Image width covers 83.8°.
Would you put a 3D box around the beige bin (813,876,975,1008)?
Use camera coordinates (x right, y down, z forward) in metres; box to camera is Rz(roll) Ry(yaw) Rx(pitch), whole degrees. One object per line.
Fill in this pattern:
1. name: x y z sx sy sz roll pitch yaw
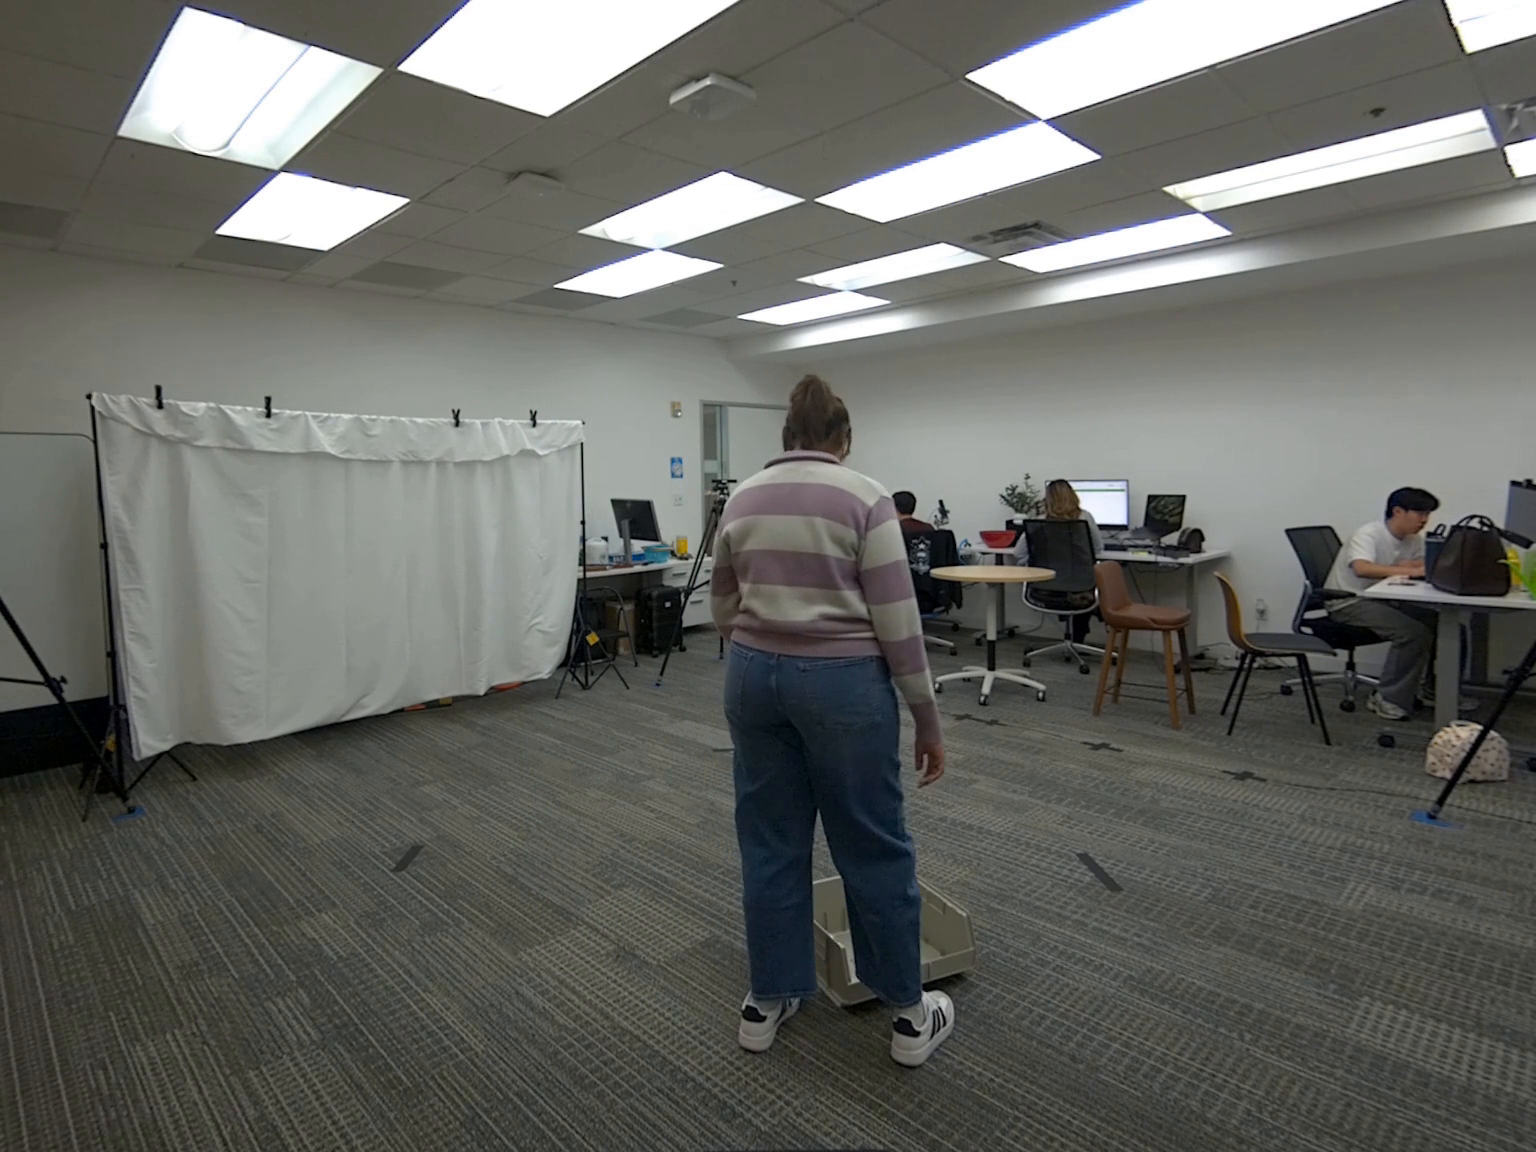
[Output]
1. beige bin: 0.320 1.030 2.450 0.414 0.188 0.386 -4 5 -25
